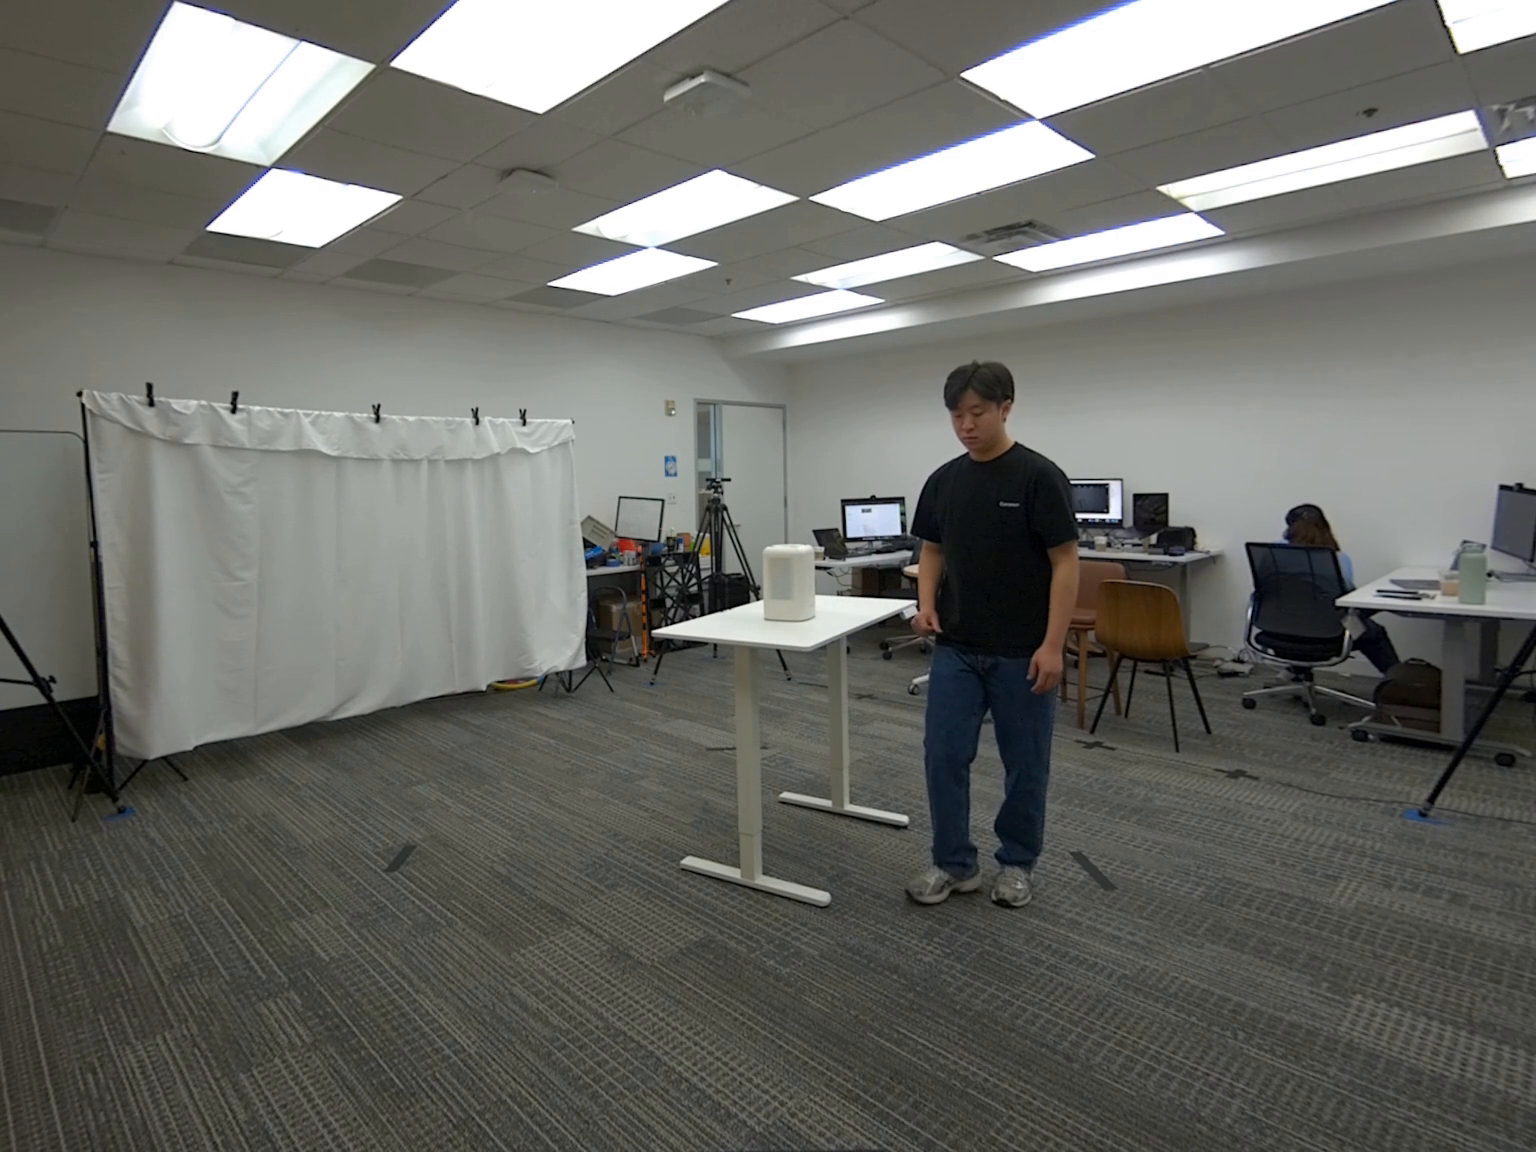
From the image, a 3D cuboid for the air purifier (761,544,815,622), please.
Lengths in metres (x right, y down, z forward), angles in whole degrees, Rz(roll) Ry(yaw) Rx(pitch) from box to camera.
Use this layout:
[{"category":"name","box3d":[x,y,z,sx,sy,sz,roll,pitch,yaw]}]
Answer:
[{"category":"air purifier","box3d":[0.081,0.023,3.123,0.175,0.264,0.168,0,4,25]}]
